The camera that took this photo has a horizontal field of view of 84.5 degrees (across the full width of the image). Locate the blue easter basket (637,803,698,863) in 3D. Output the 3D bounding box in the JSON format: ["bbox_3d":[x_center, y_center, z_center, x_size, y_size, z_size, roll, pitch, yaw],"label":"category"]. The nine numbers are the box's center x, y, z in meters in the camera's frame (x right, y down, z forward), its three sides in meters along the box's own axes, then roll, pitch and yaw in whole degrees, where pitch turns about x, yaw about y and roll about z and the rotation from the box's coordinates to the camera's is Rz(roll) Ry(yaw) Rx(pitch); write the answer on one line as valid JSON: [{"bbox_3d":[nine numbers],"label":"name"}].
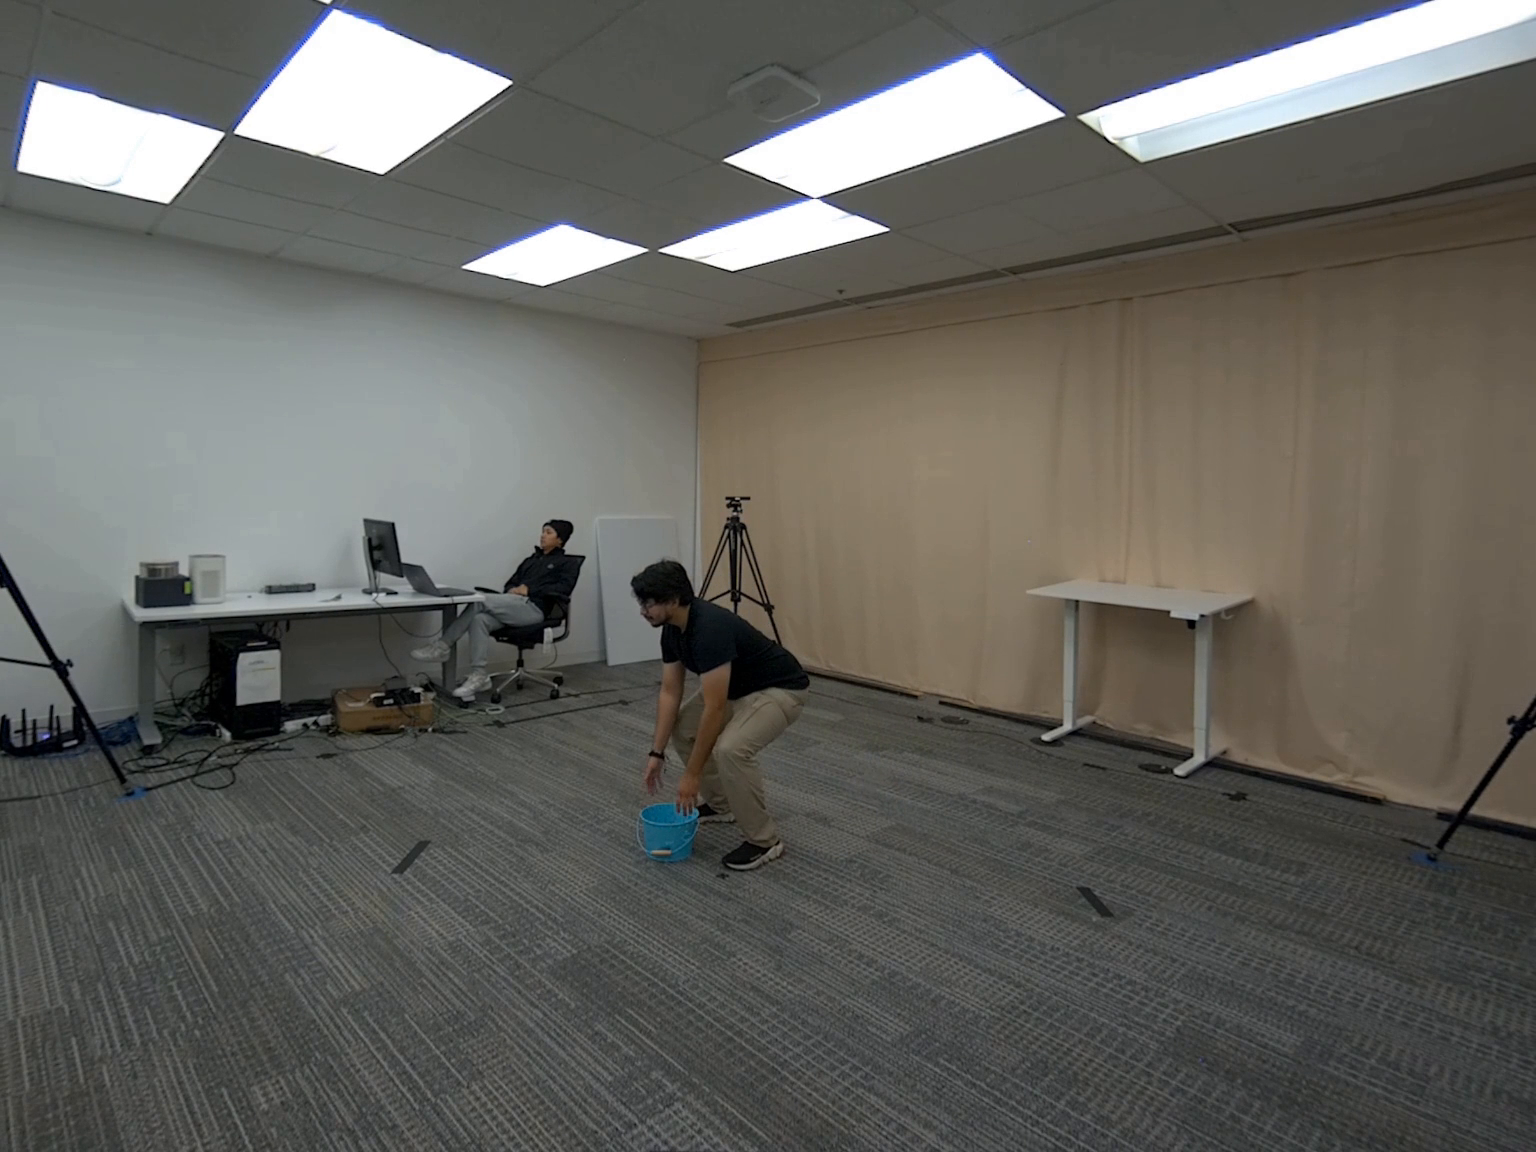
[{"bbox_3d":[-0.392,1.003,3.299,0.243,0.155,0.244,1,4,-1],"label":"blue easter basket"}]
